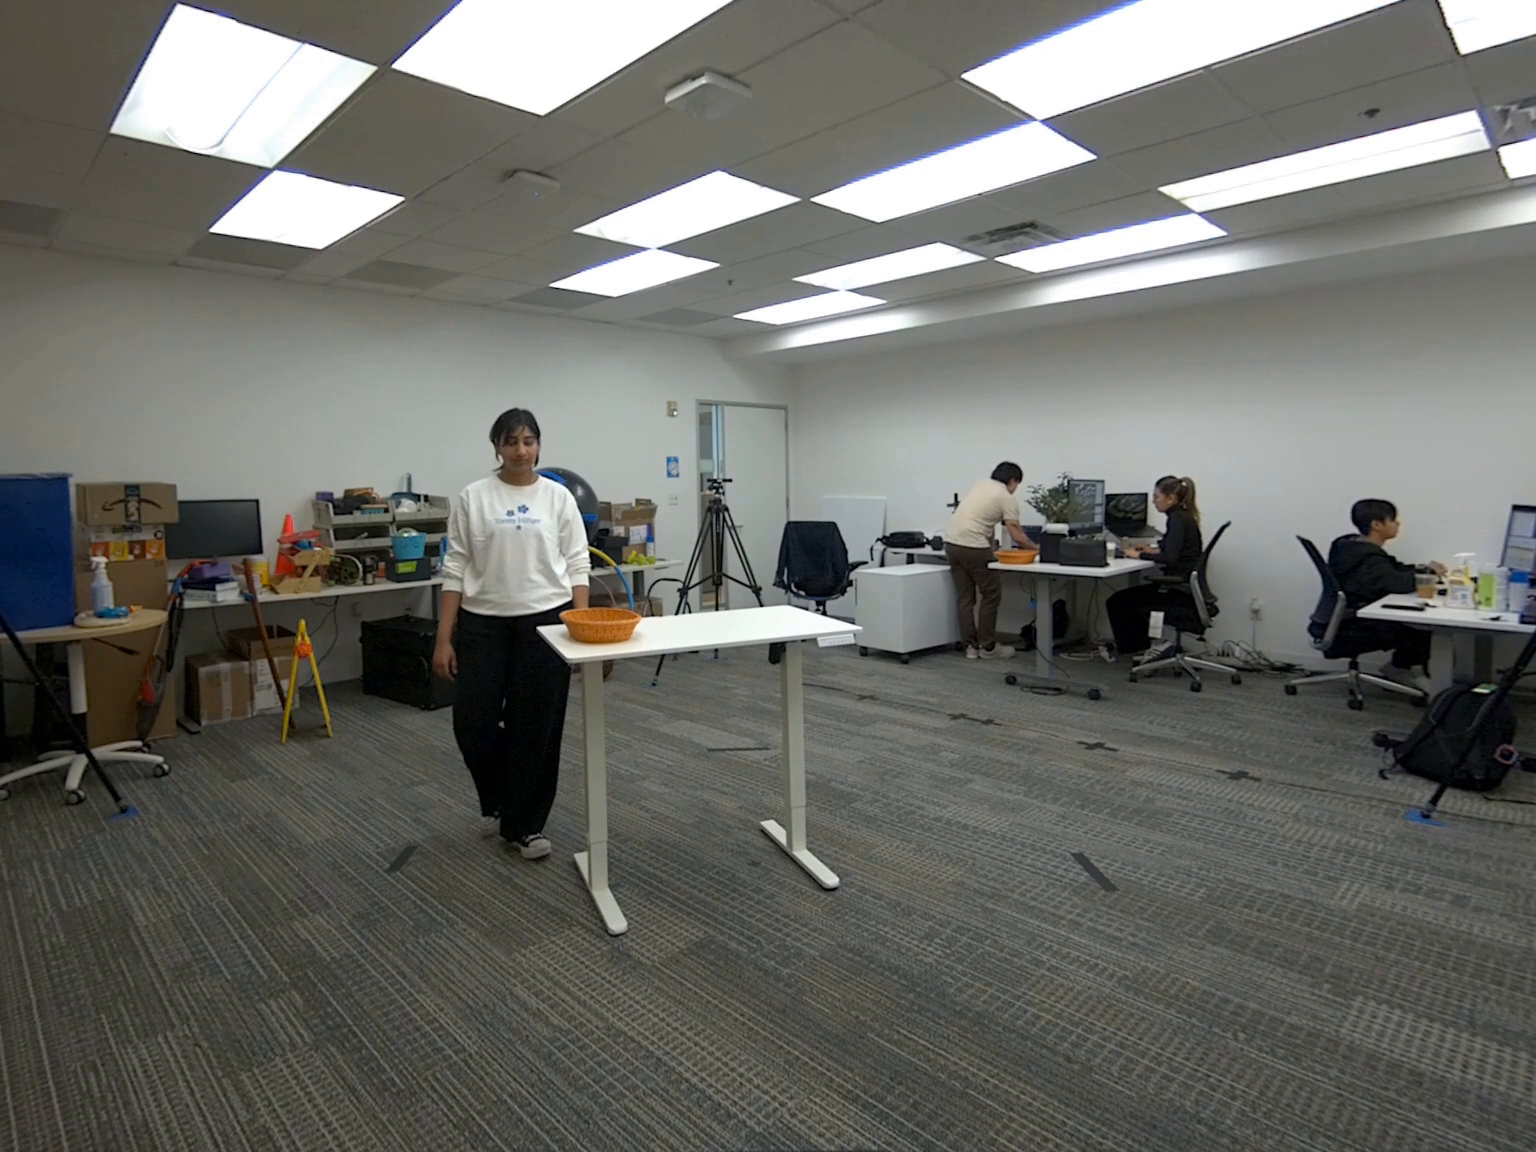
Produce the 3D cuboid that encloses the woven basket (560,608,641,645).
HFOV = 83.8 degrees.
[{"bbox_3d":[-0.570,0.172,2.864,0.249,0.073,0.357,-1,5,-16],"label":"woven basket"}]
